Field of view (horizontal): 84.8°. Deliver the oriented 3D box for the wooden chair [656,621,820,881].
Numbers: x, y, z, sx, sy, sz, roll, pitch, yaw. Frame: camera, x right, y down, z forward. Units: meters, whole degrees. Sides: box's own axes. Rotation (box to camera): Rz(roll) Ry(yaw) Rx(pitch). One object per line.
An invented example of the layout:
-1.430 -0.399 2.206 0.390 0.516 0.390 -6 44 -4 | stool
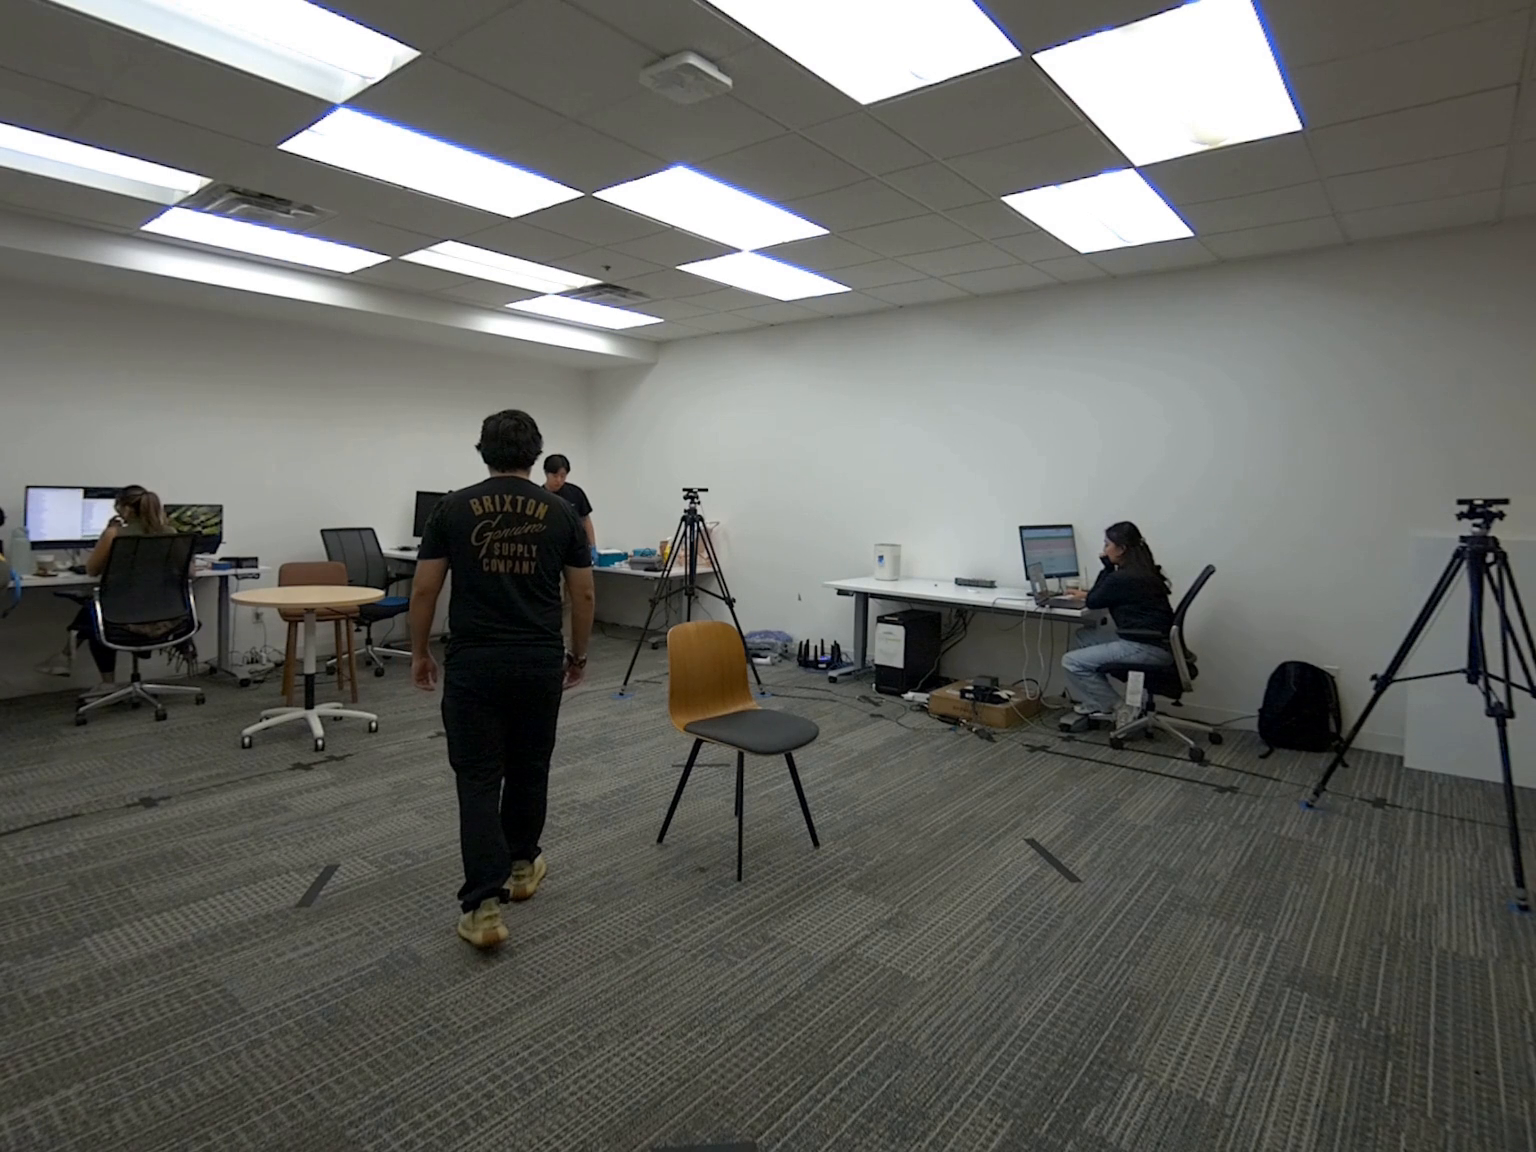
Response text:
-0.112 0.626 3.299 0.539 0.878 0.463 -2 0 44 | wooden chair
